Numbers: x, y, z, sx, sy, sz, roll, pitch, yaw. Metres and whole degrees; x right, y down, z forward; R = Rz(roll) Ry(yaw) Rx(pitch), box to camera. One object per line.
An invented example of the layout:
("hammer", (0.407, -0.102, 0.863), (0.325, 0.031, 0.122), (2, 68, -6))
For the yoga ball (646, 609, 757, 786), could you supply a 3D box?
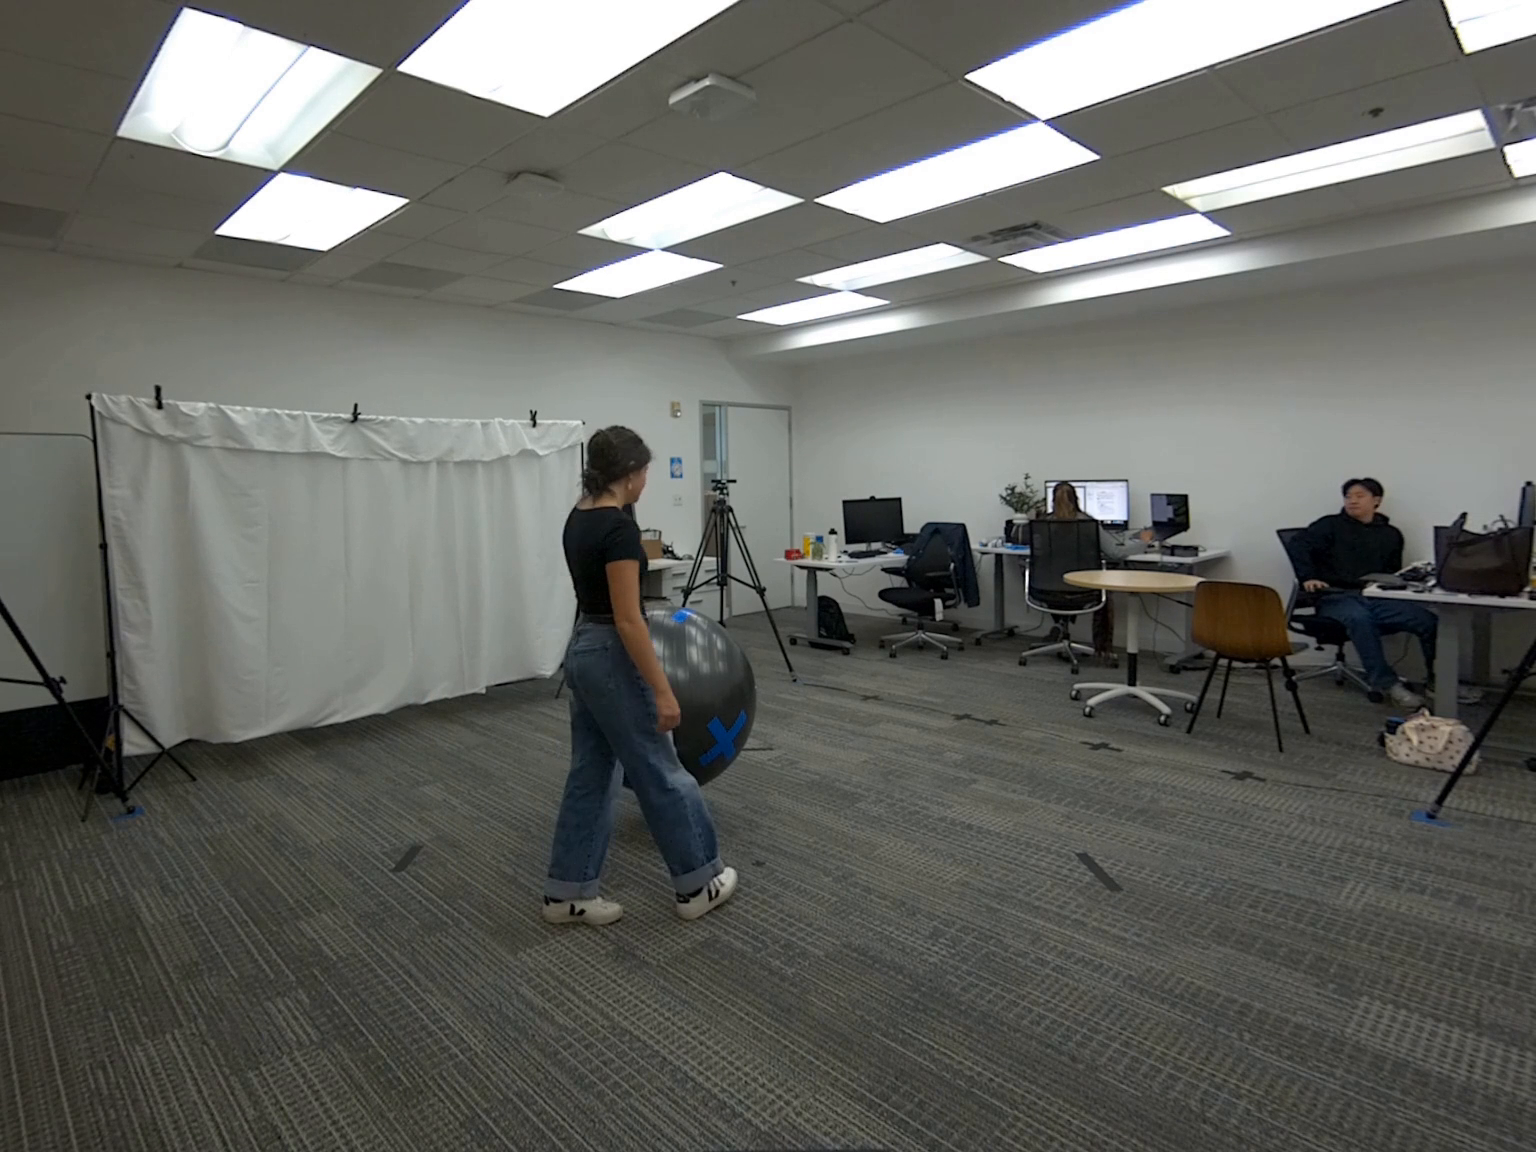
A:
("yoga ball", (-0.430, 0.502, 3.494), (0.757, 0.755, 0.762), (-1, 5, -2))
